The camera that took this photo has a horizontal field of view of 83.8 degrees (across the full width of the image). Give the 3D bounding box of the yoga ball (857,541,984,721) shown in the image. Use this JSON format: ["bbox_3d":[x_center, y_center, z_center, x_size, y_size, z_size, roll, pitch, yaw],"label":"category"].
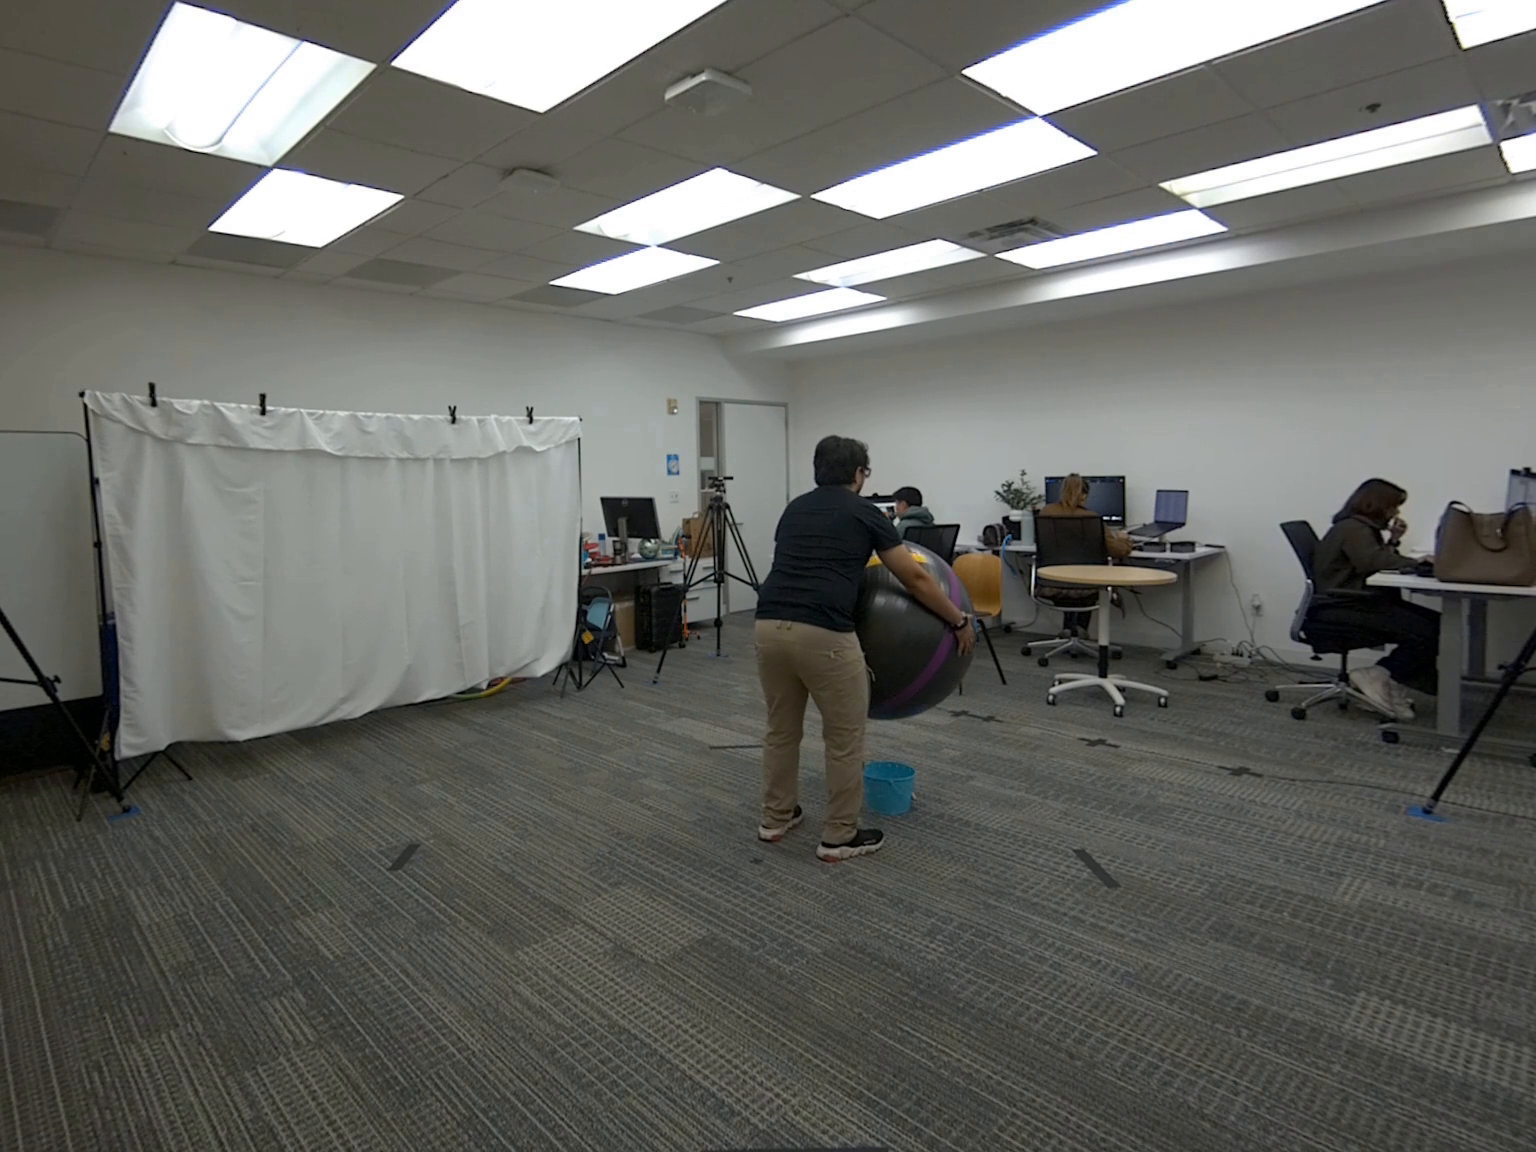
[{"bbox_3d":[0.481,0.231,3.597,0.757,0.755,0.762,-1,5,-2],"label":"yoga ball"}]
